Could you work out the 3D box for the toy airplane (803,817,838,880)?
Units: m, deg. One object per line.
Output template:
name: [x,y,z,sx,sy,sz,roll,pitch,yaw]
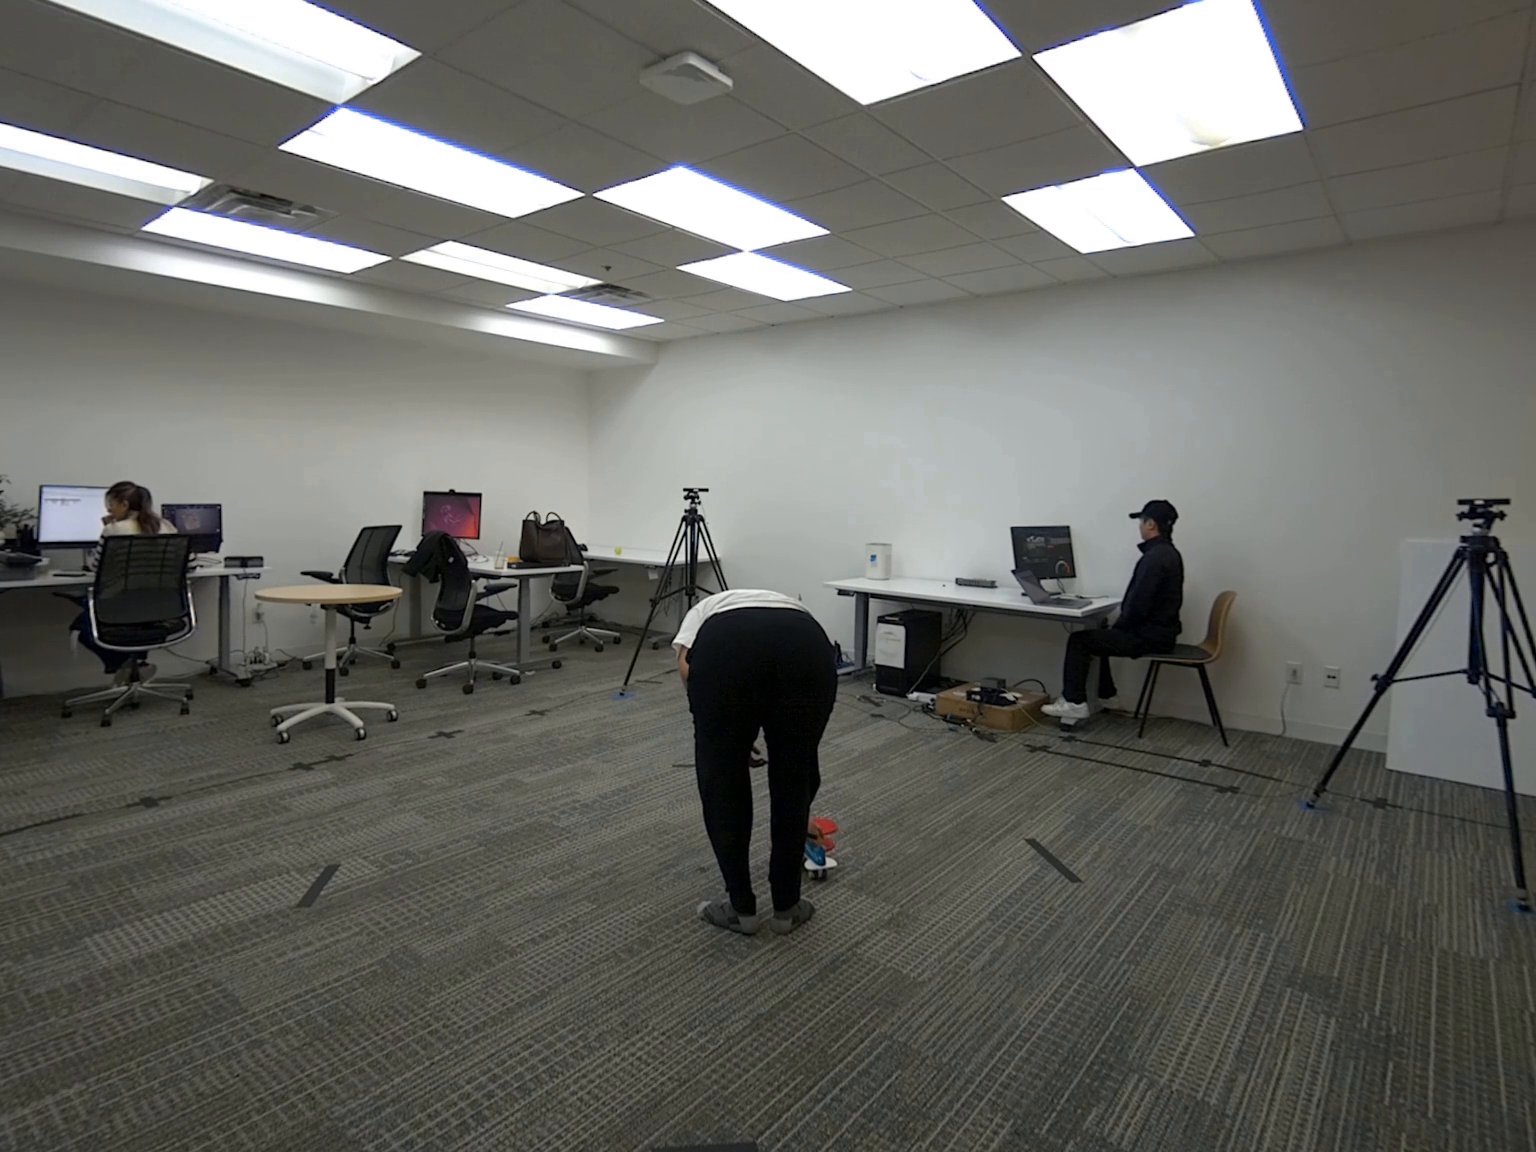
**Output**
toy airplane: [0.152,0.998,3.147,0.268,0.156,0.243,5,5,42]
